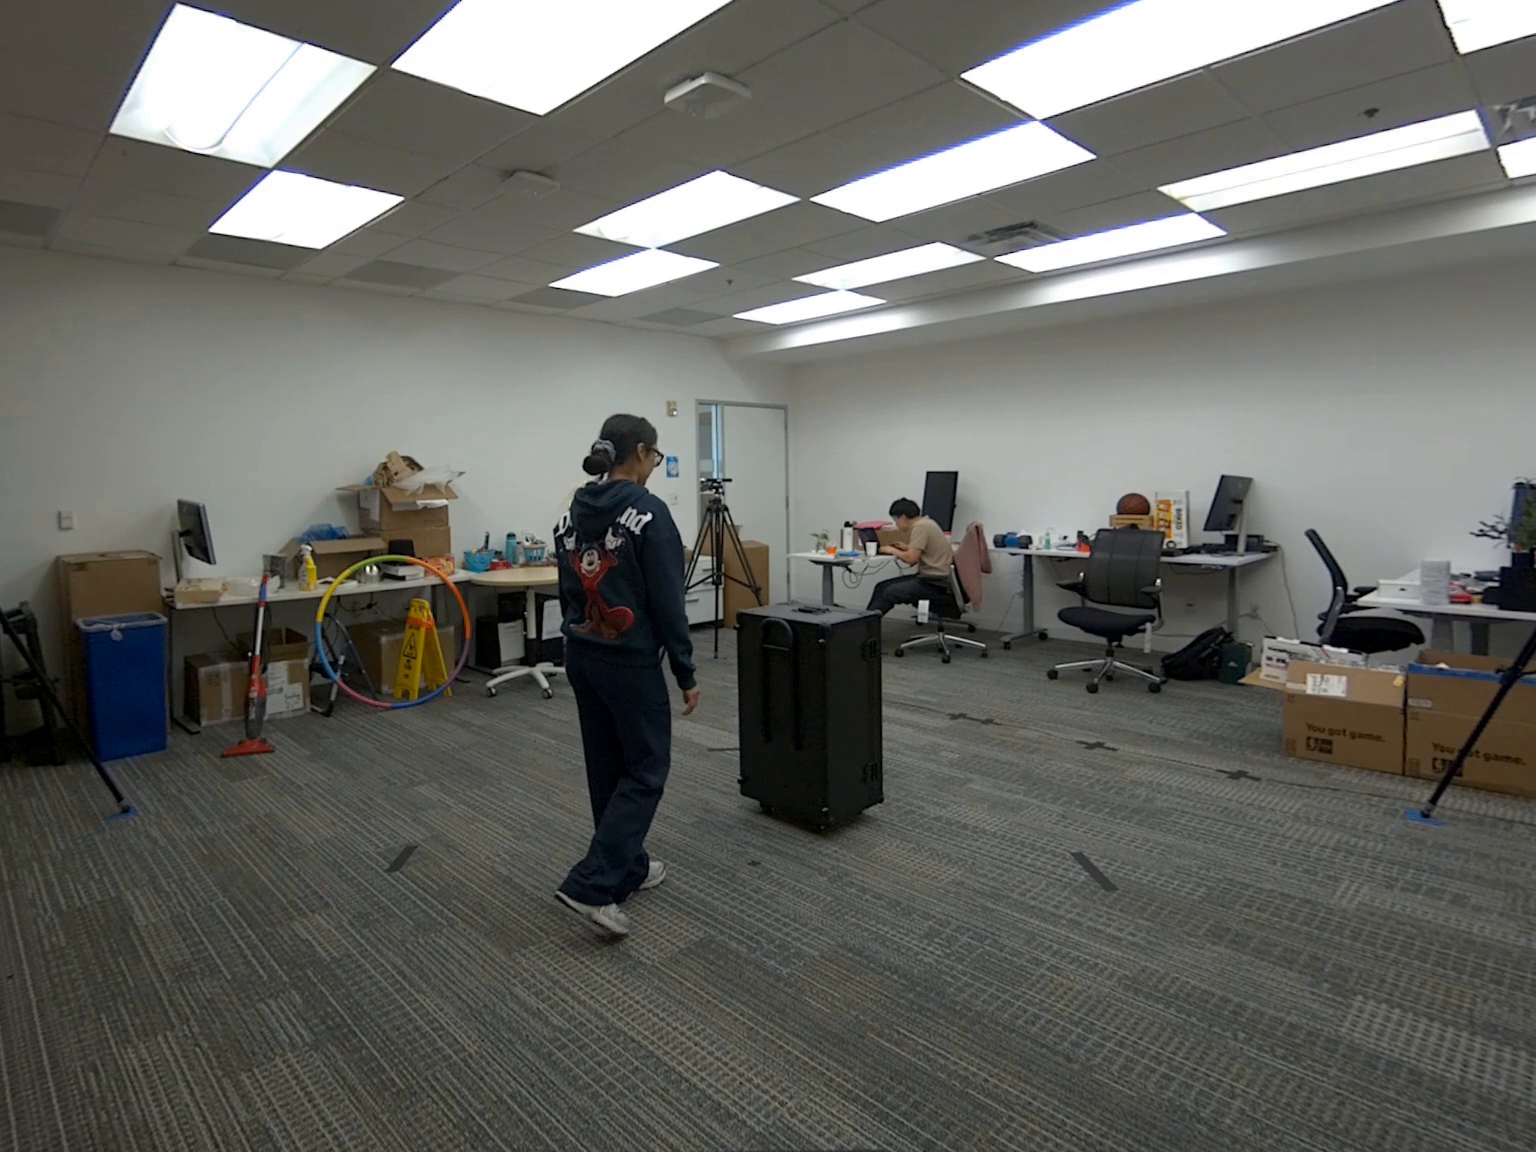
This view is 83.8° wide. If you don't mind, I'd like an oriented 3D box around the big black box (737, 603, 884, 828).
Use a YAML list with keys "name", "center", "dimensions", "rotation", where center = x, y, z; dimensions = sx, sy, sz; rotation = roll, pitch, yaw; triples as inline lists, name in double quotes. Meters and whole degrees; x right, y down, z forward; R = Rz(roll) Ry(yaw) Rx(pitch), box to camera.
- name: "big black box"
  center: [0.170, 0.573, 3.509]
  dimensions: [0.386, 0.857, 0.537]
  rotation: [-7, 7, -44]
